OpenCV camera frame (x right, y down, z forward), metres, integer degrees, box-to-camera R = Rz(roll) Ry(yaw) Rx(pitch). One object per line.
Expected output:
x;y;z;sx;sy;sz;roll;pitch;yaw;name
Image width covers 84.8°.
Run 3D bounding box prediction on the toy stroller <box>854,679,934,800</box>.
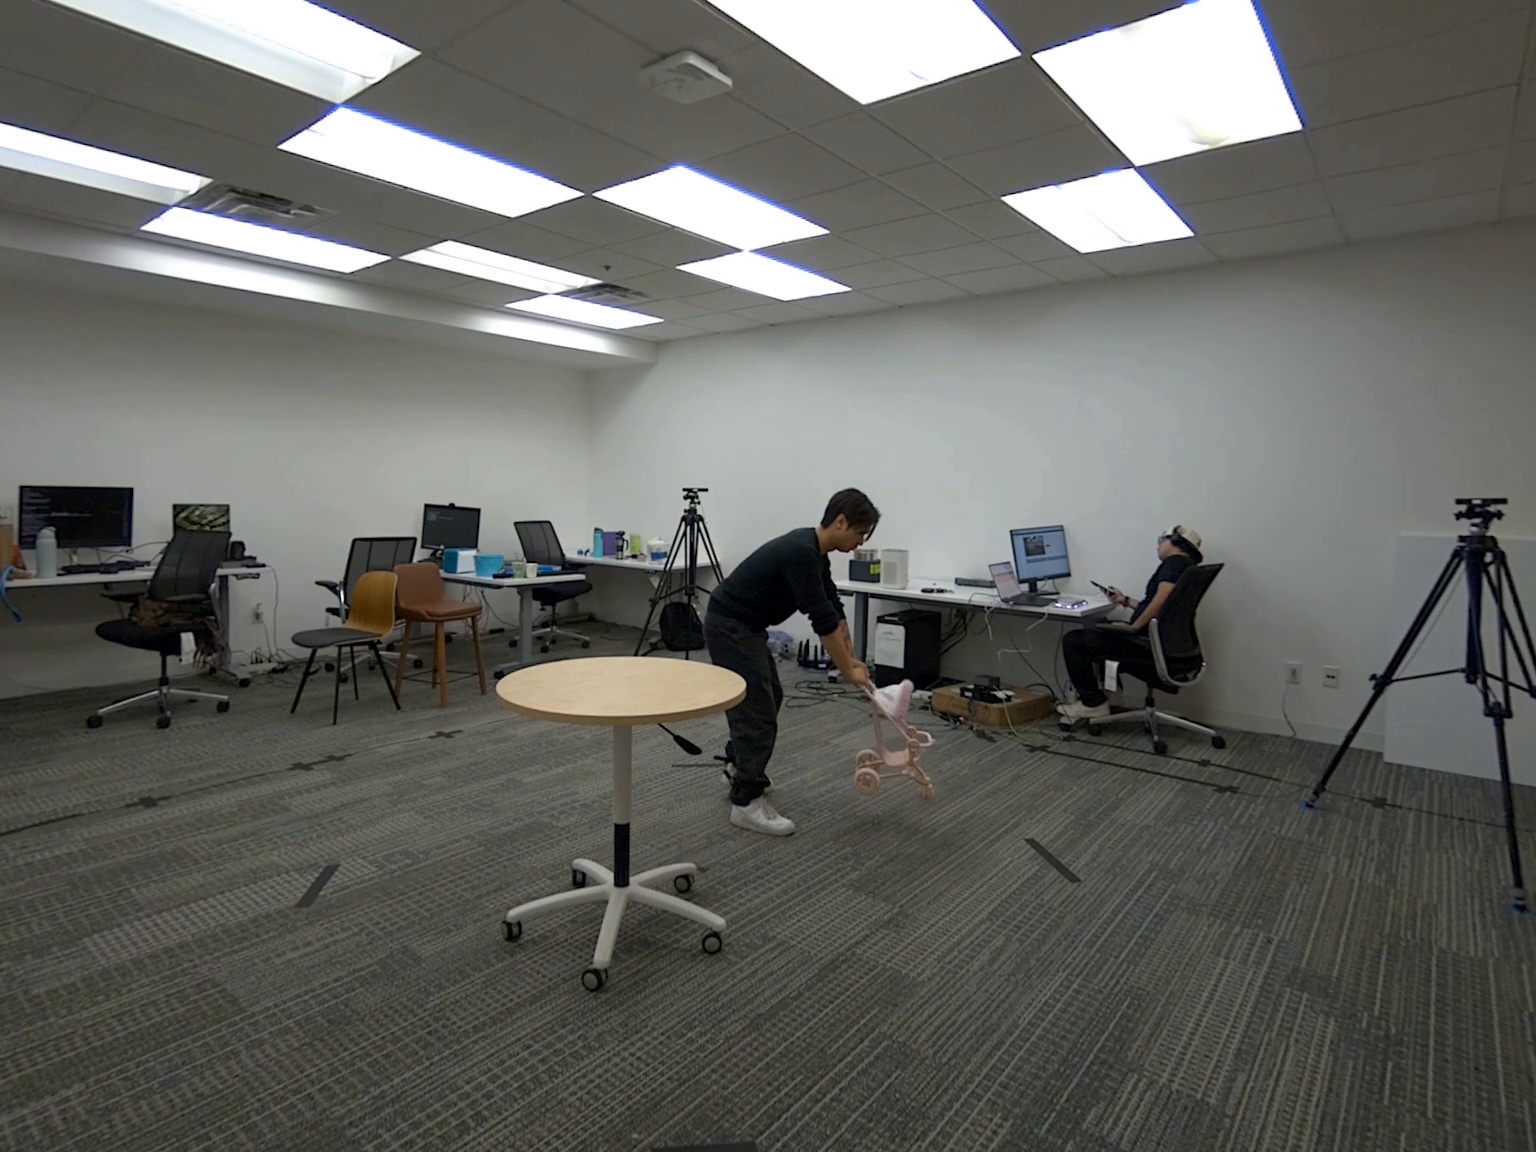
0.529;0.664;3.533;0.347;0.534;0.277;0;2;15;toy stroller
